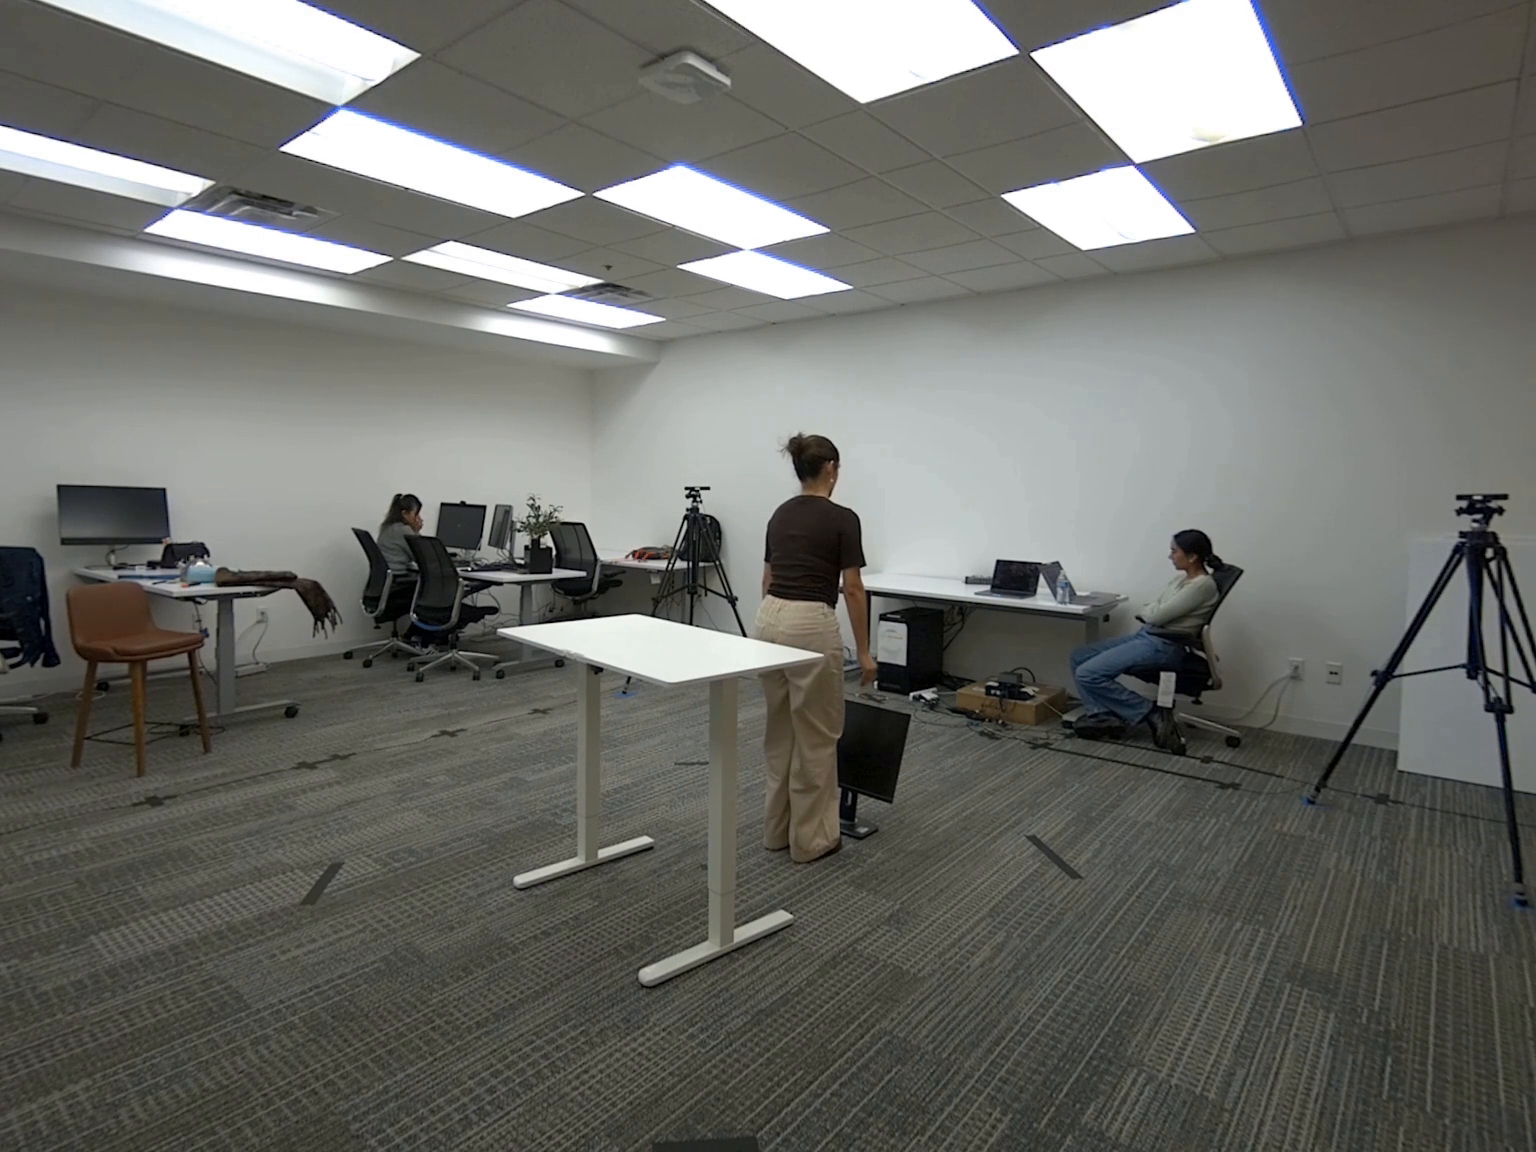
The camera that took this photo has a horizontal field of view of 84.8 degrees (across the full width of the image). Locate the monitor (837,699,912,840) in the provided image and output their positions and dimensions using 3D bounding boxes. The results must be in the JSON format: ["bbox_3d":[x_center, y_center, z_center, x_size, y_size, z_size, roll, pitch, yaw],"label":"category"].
[{"bbox_3d":[0.325,0.780,3.534,0.557,0.522,0.181,6,1,39],"label":"monitor"}]
